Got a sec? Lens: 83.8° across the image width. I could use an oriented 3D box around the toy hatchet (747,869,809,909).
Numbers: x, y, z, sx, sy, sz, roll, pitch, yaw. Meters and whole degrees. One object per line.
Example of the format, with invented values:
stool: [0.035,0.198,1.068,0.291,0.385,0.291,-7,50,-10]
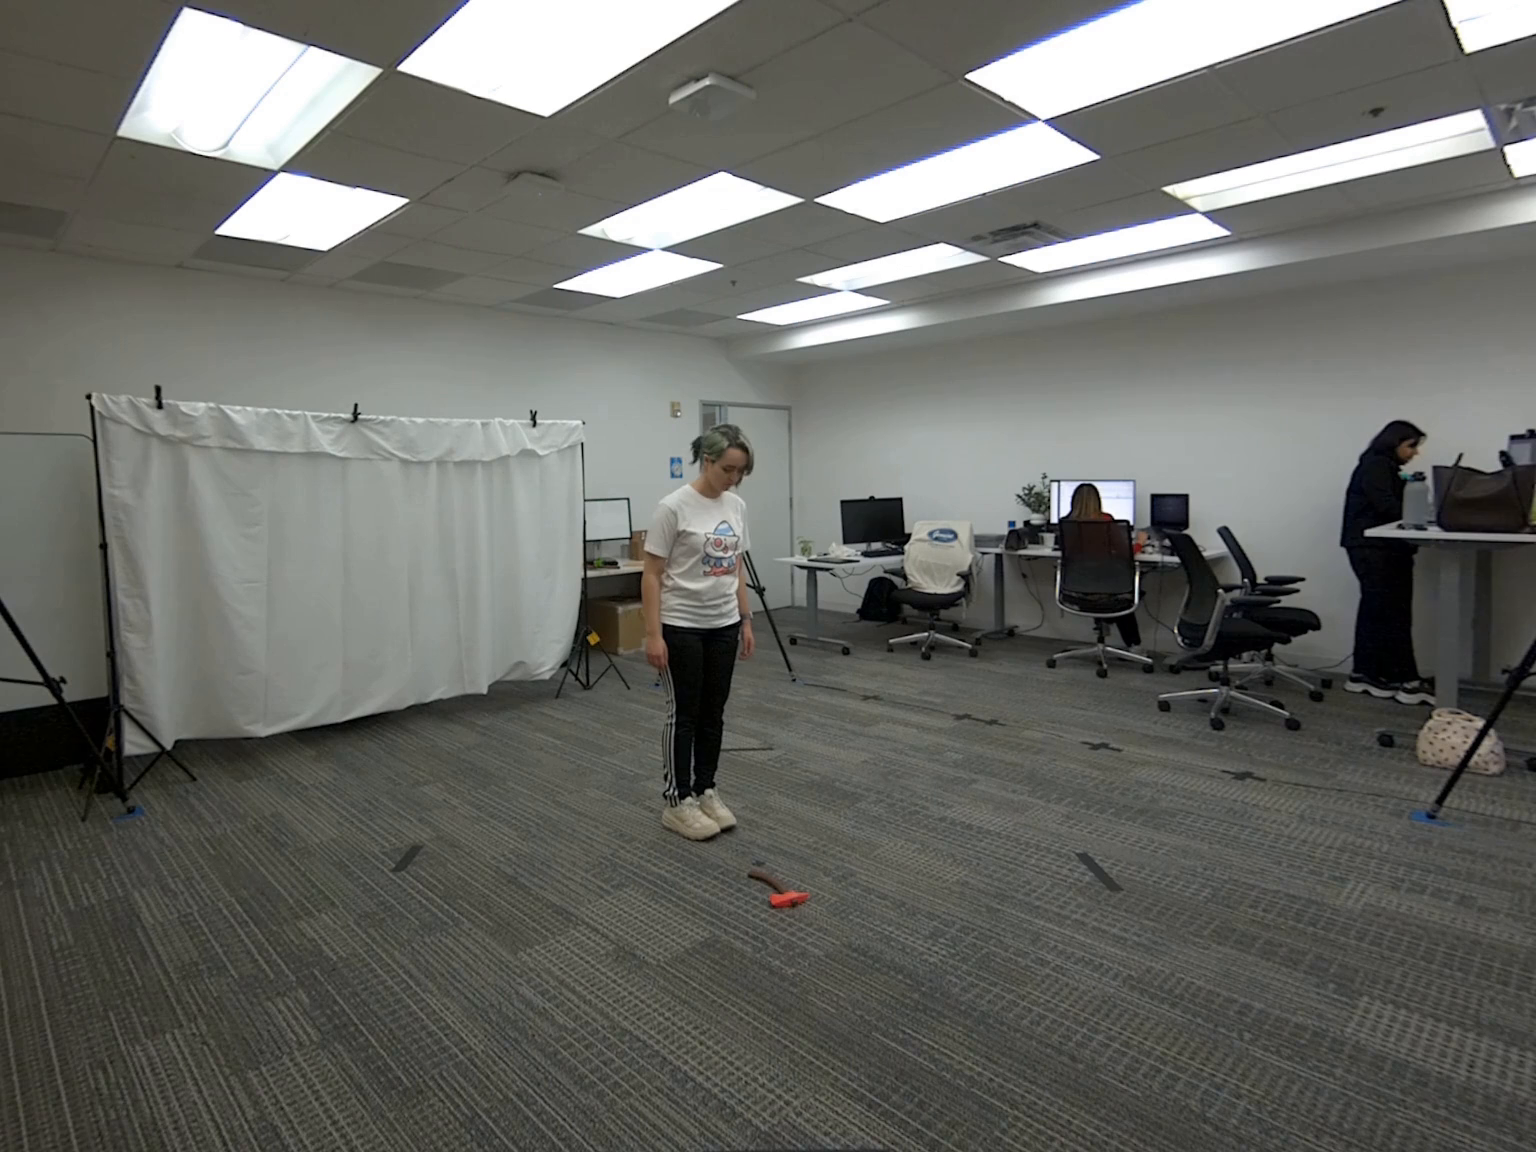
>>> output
toy hatchet: [0.005,1.062,2.885,0.128,0.029,0.278,-9,9,-42]
